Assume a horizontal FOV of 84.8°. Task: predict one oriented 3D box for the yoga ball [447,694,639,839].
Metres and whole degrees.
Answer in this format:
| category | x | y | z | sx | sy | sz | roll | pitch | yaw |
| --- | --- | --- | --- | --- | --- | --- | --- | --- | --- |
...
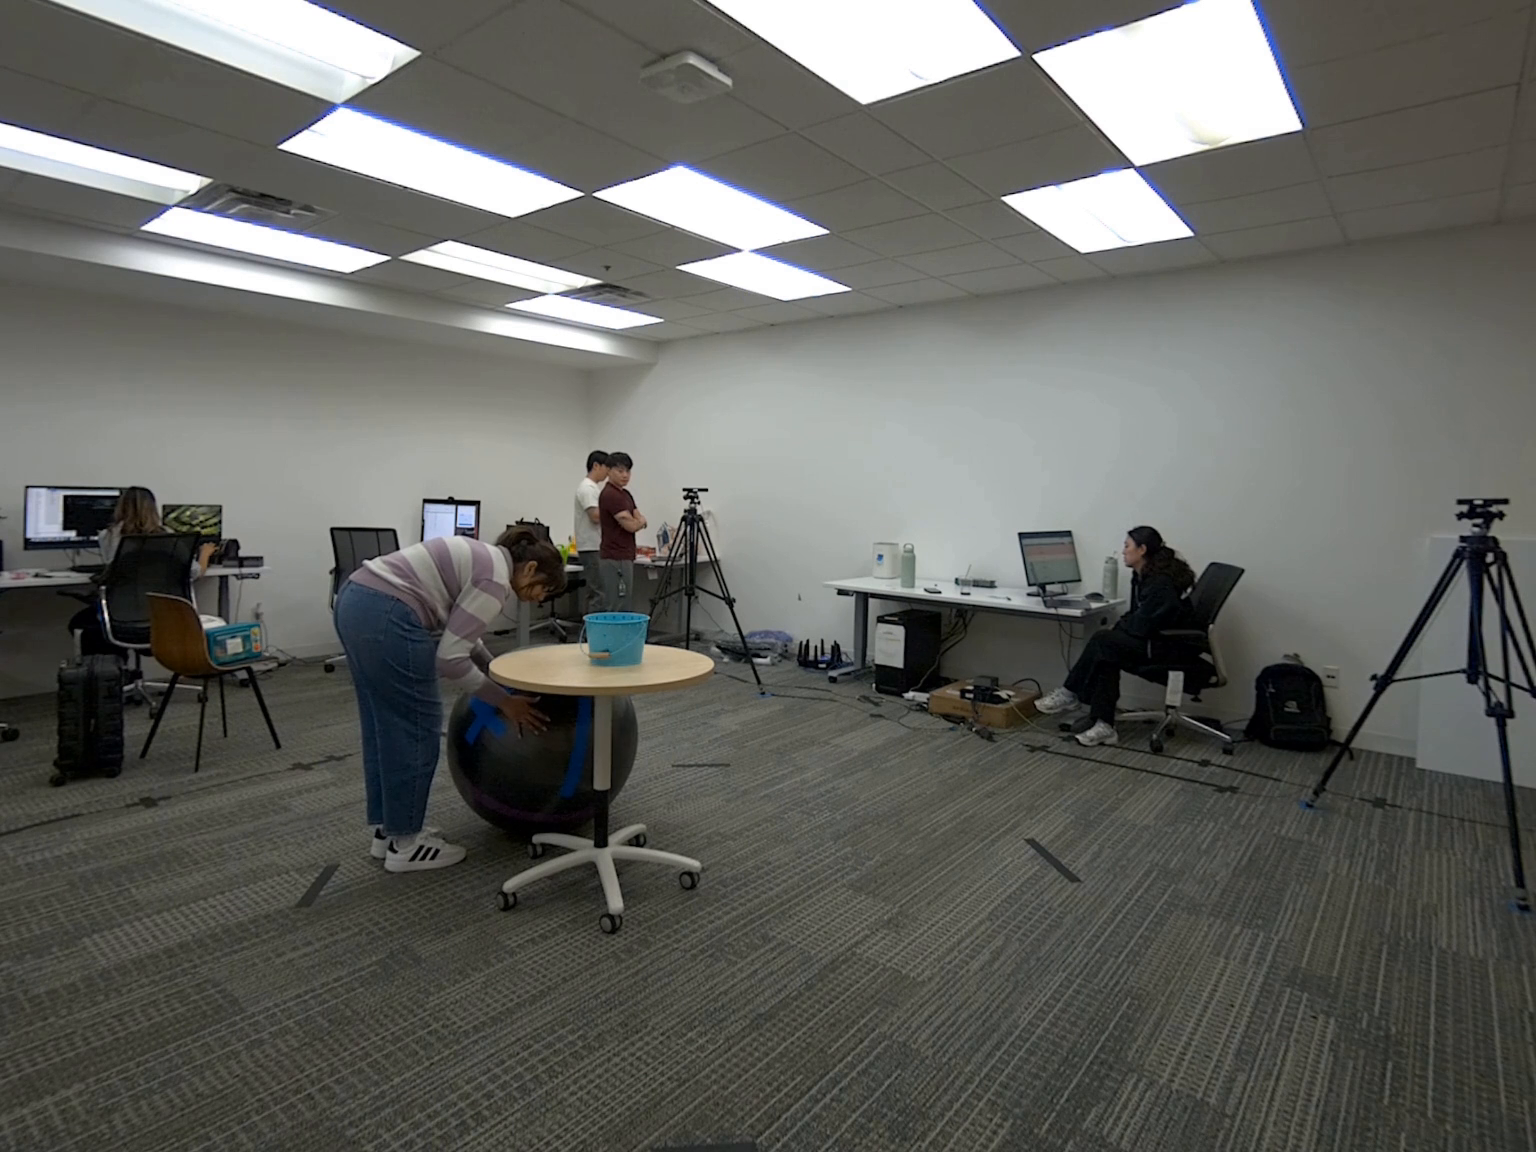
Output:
| category | x | y | z | sx | sy | sz | roll | pitch | yaw |
| --- | --- | --- | --- | --- | --- | --- | --- | --- | --- |
| yoga ball | -0.920 | 0.652 | 3.468 | 0.757 | 0.755 | 0.762 | 1 | 4 | -2 |
